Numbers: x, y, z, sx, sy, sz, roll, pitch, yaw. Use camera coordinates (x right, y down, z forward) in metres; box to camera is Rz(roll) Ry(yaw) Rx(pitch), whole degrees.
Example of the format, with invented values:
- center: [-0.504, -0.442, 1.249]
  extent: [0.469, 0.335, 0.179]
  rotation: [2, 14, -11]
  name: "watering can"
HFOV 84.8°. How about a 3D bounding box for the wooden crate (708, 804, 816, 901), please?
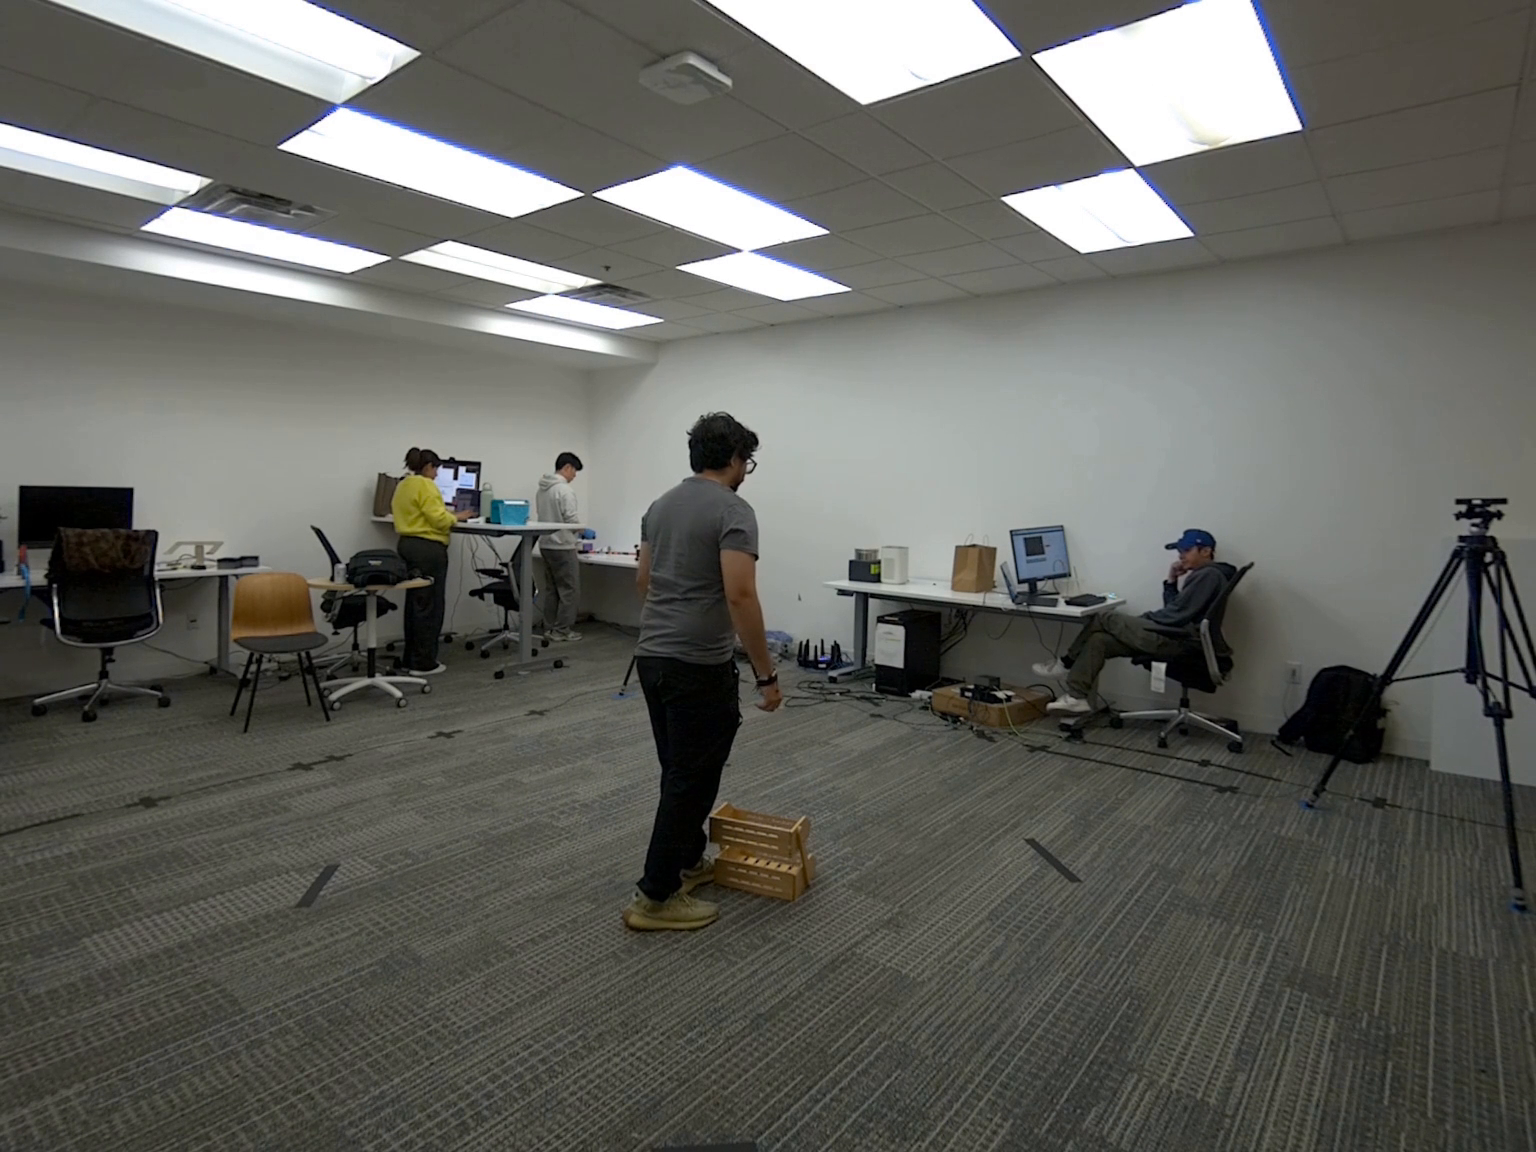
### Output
- center: [-0.015, 0.949, 3.022]
  extent: [0.332, 0.272, 0.296]
  rotation: [2, 5, 22]
  name: "wooden crate"
